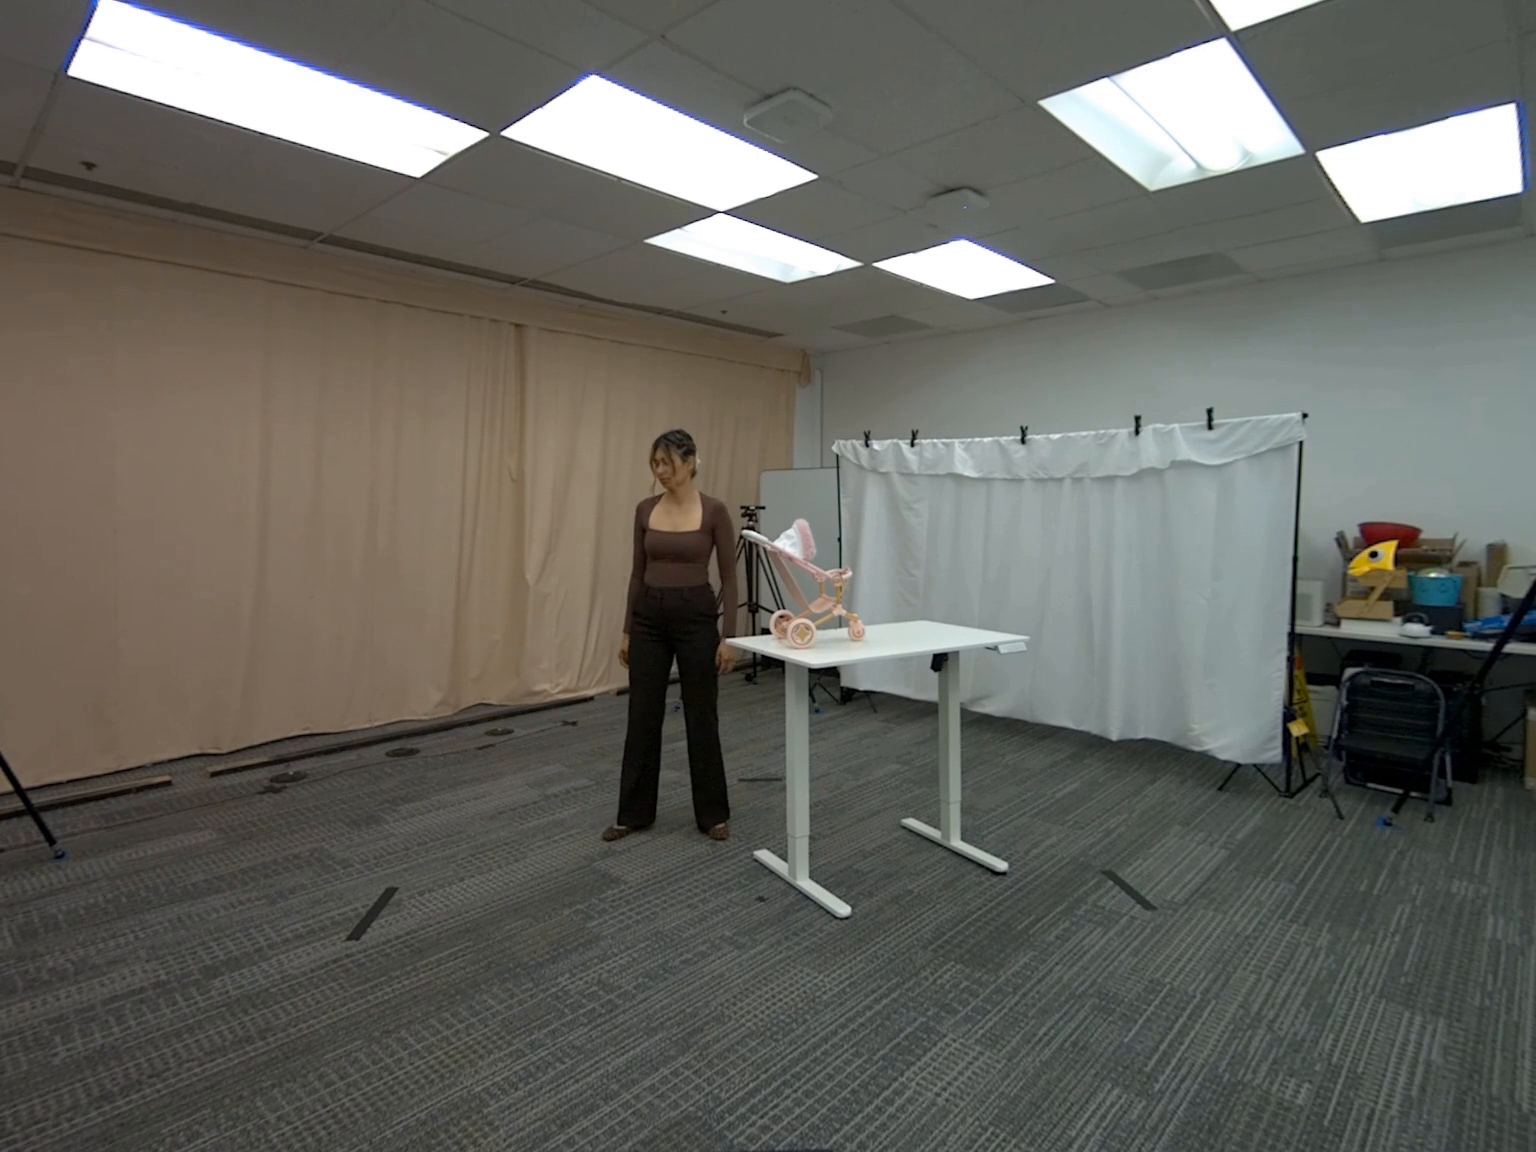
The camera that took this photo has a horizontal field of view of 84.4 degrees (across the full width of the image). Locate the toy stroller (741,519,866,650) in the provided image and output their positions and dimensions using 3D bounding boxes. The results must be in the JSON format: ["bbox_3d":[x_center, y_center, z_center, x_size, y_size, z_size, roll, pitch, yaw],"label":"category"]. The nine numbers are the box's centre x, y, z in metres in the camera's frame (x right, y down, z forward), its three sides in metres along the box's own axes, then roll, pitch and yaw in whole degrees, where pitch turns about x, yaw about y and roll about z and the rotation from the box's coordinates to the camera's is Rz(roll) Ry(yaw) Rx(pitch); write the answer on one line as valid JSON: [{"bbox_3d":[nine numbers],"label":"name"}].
[{"bbox_3d":[0.155,0.030,3.131,0.339,0.532,0.284,-18,6,-7],"label":"toy stroller"}]
